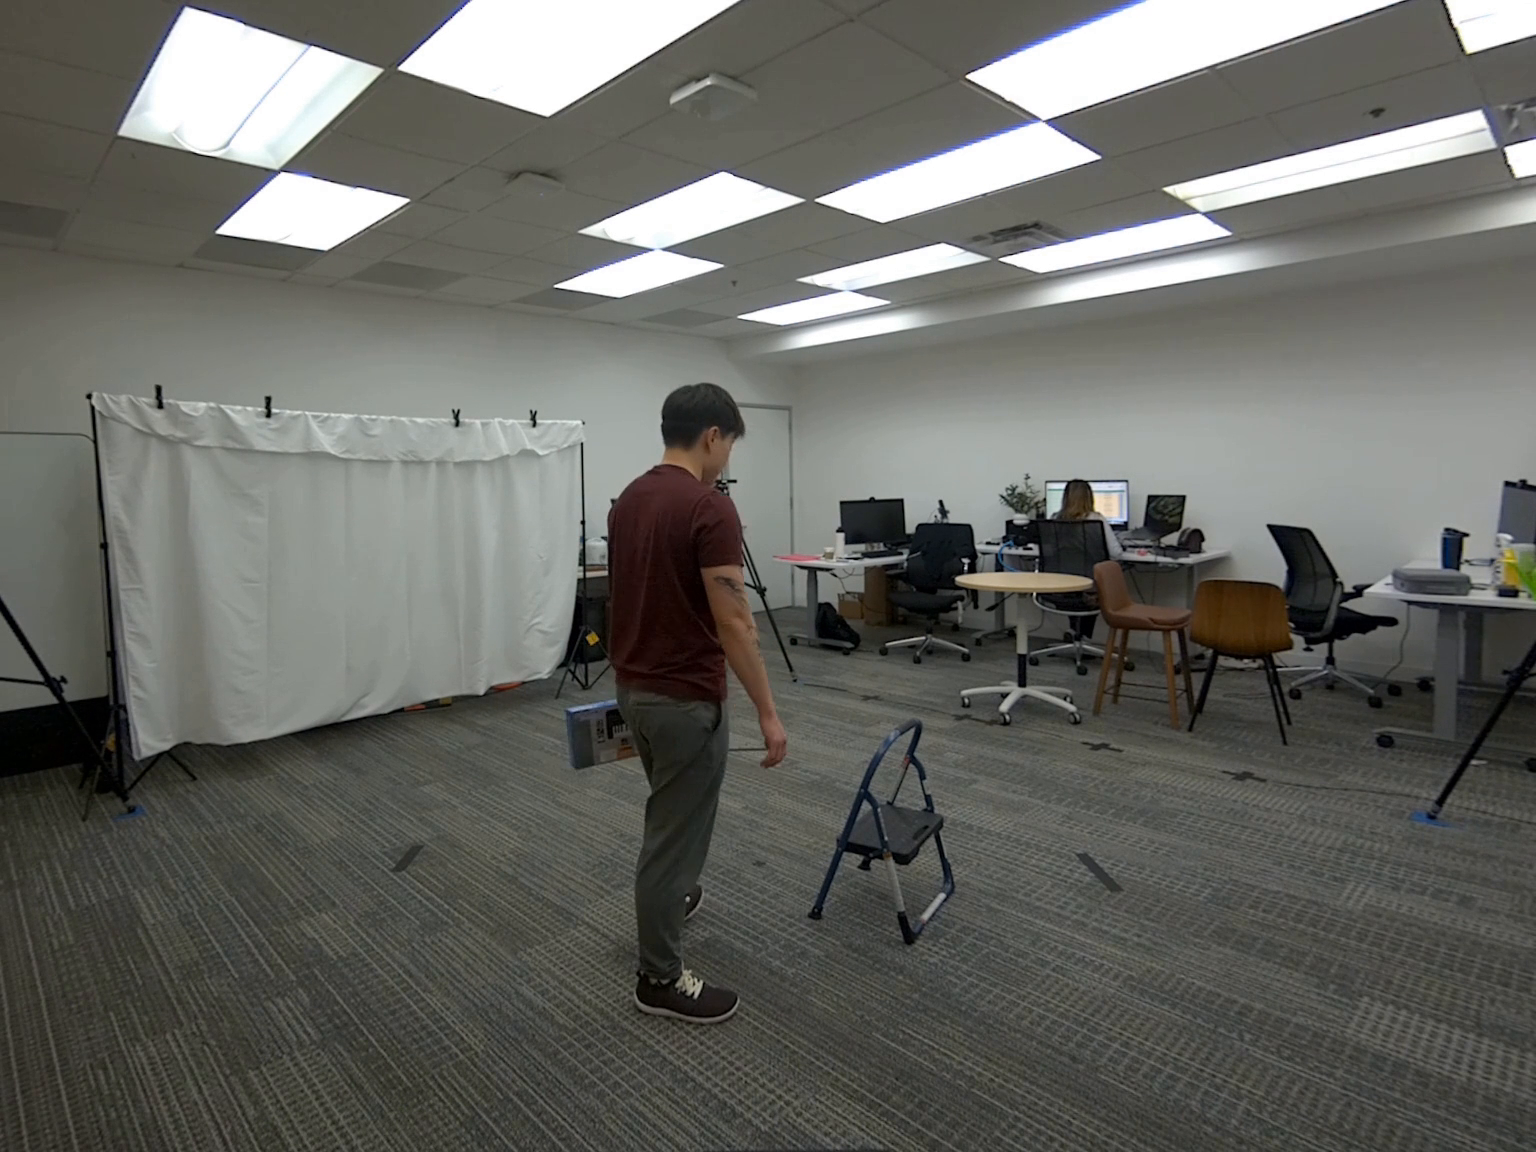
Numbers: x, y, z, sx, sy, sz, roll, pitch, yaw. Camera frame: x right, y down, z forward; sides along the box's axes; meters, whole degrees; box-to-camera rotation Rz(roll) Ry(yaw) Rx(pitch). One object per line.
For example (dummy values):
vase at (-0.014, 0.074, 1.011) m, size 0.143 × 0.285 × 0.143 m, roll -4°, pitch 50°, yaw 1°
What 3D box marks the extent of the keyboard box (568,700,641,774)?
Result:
keyboard box at (-0.380, 0.456, 2.599) m, size 0.428 × 0.175 × 0.060 m, roll -7°, pitch 4°, yaw -27°
